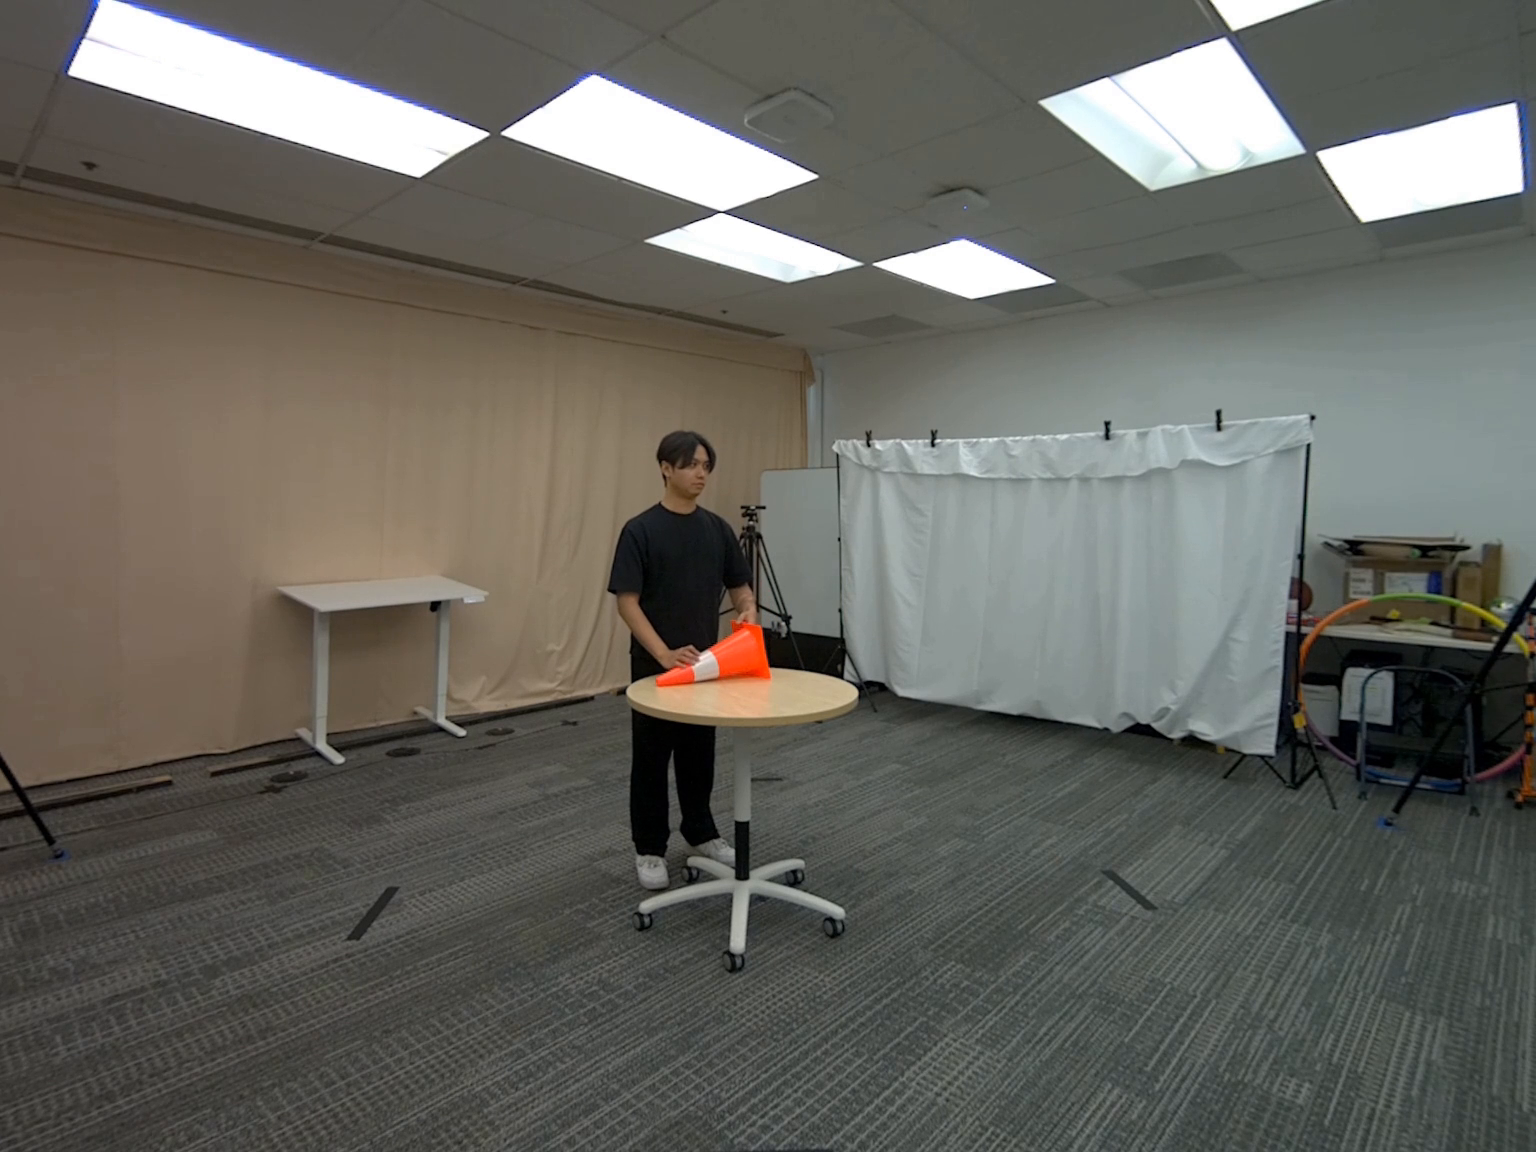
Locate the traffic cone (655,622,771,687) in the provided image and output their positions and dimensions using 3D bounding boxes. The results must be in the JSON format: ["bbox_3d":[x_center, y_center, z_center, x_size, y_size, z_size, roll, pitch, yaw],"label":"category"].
[{"bbox_3d":[-0.214,0.311,2.929,0.375,0.202,0.211,-15,10,-28],"label":"traffic cone"}]
